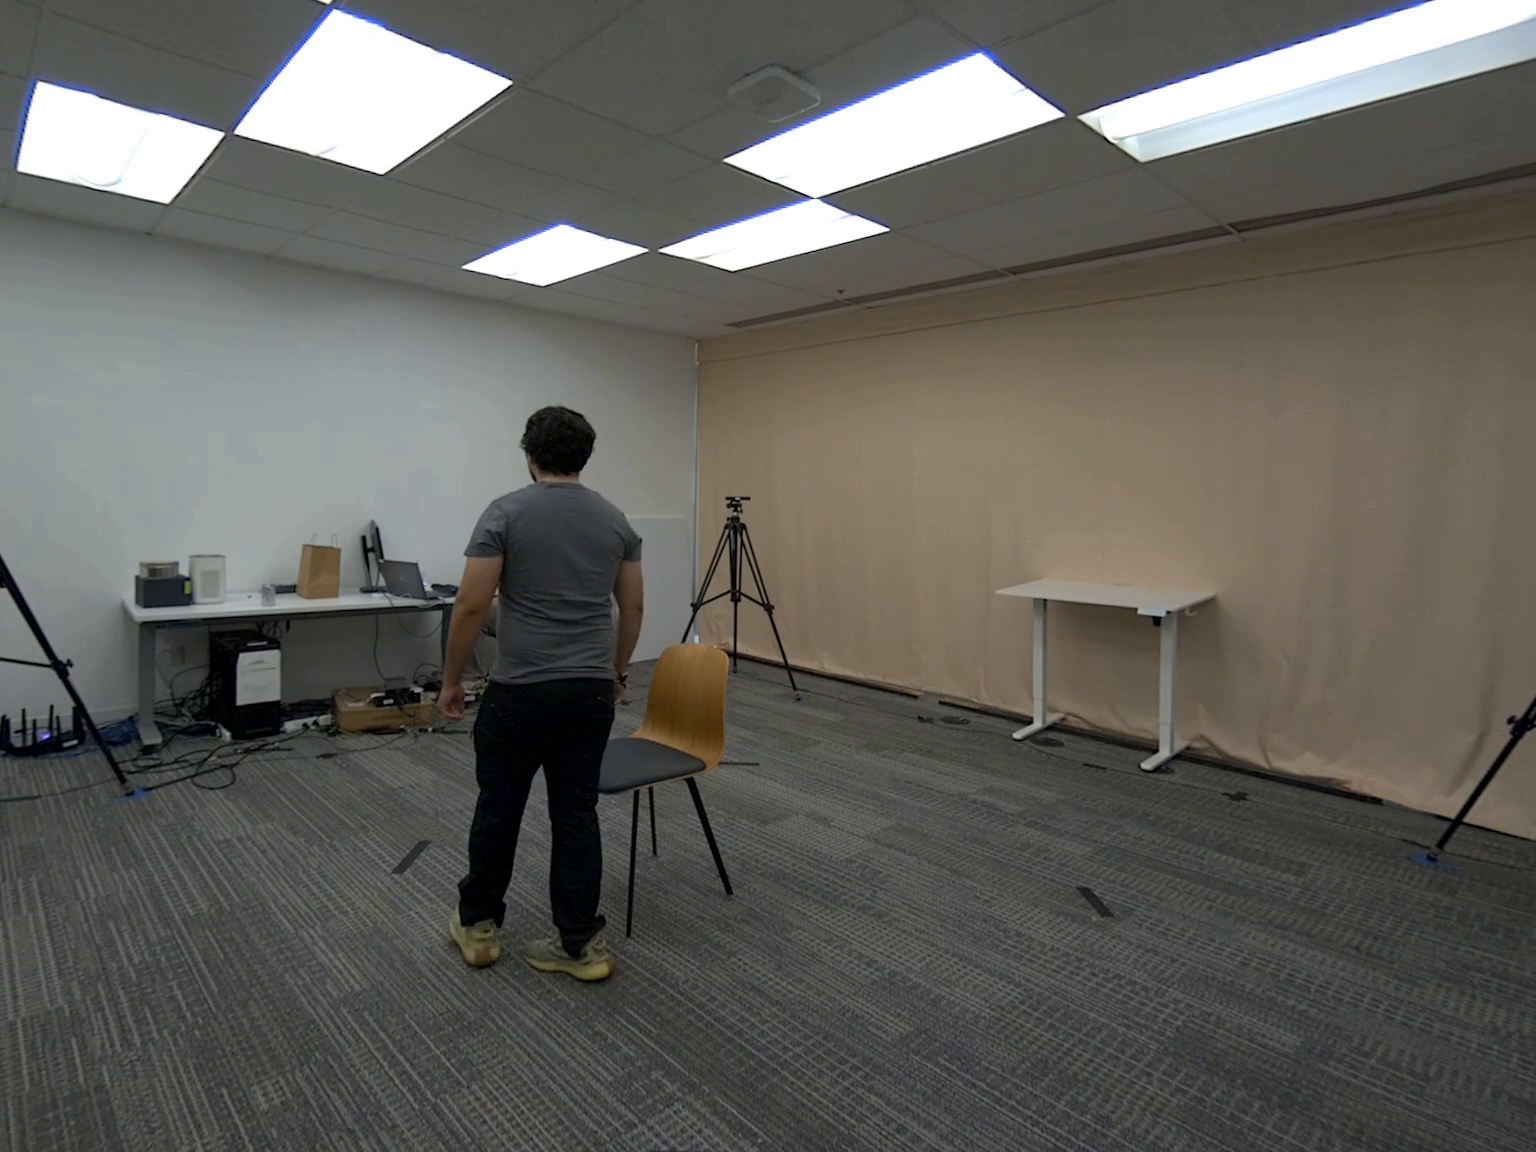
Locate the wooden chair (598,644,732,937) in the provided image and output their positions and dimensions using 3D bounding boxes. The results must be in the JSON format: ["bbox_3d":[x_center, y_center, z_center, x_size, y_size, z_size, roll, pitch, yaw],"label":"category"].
[{"bbox_3d":[-0.438,0.691,2.933,0.510,0.877,0.490,4,1,-44],"label":"wooden chair"}]
